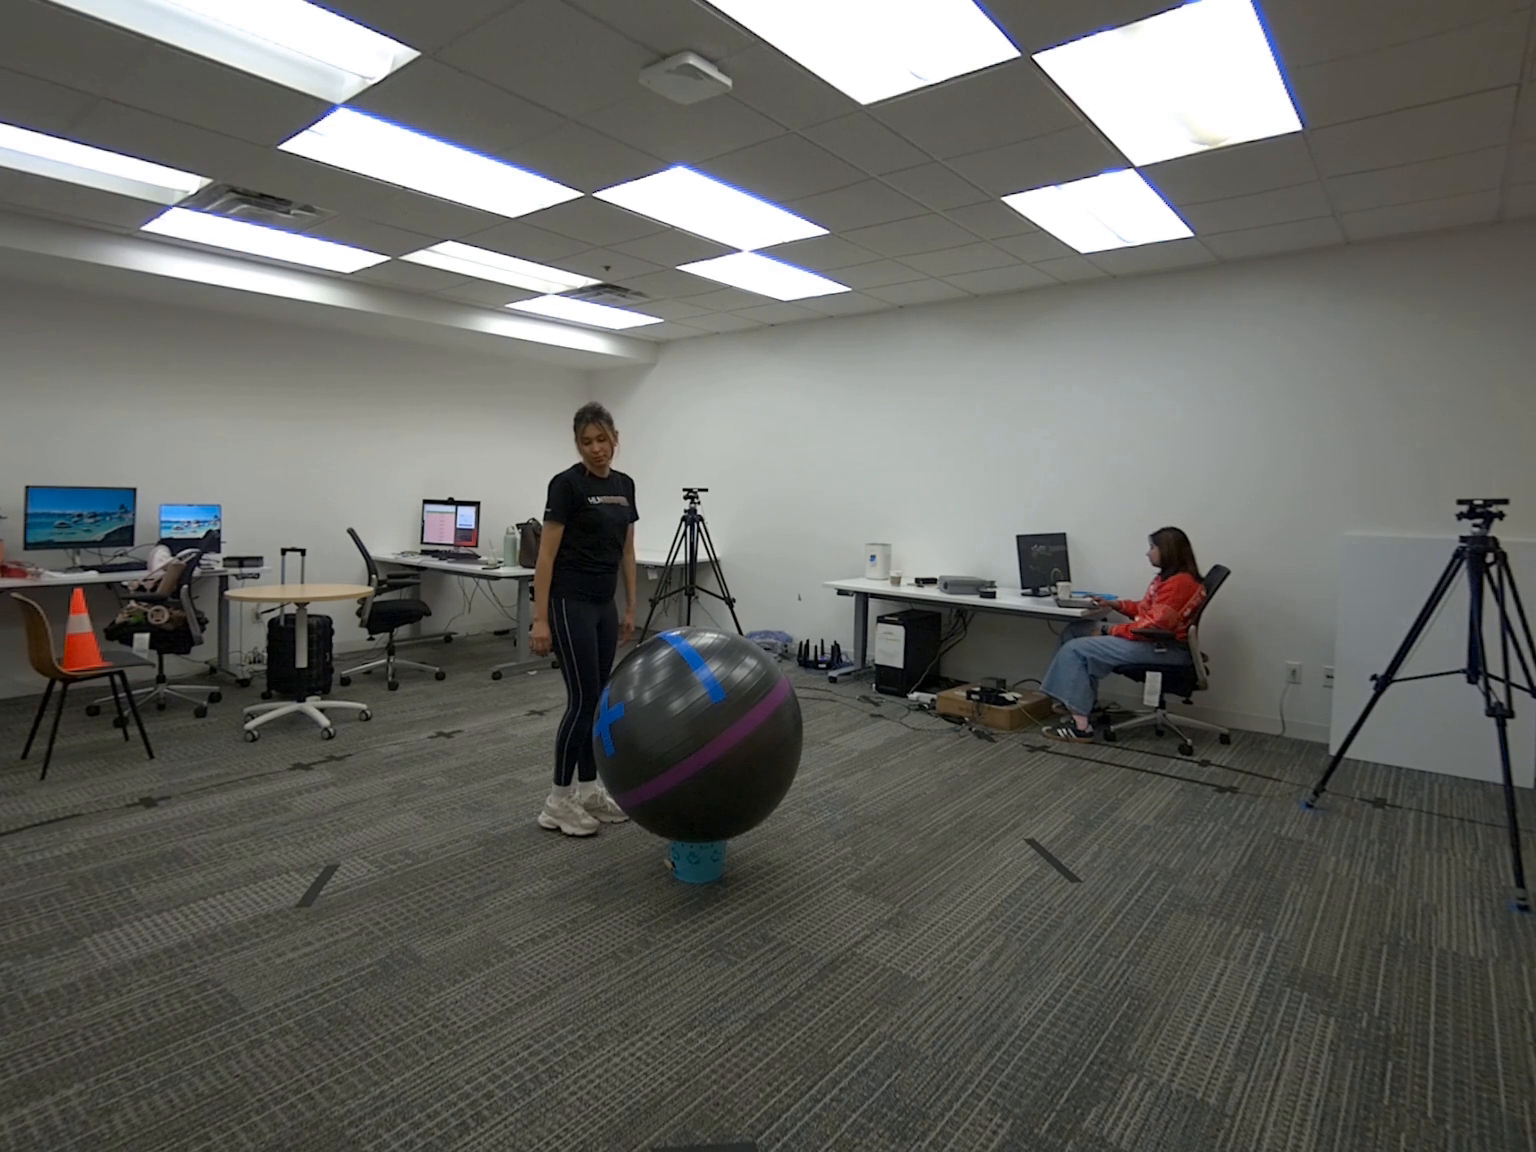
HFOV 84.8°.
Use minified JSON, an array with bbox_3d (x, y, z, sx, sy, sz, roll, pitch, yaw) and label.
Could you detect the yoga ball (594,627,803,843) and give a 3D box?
[{"bbox_3d":[-0.266,0.563,3.069,0.757,0.755,0.762,1,4,-2],"label":"yoga ball"}]
